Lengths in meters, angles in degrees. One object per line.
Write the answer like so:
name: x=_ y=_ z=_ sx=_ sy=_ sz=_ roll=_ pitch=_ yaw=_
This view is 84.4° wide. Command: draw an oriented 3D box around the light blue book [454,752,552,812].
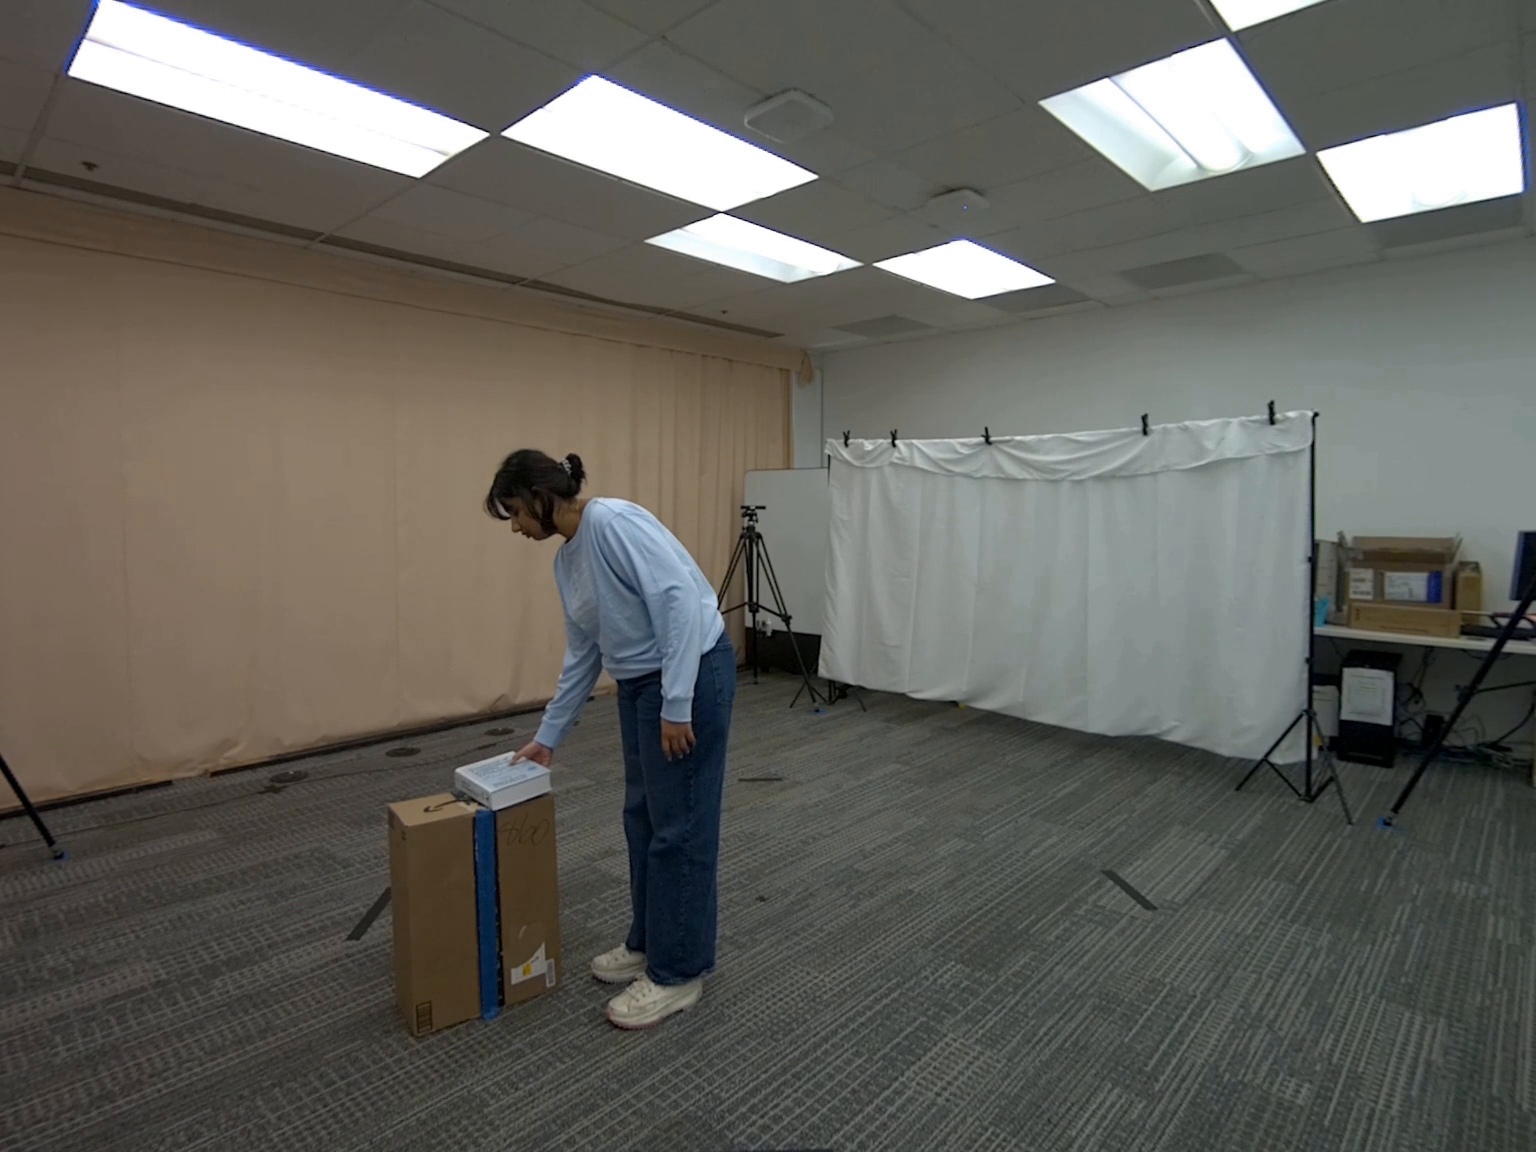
light blue book: x=-0.768 y=0.591 z=2.455 sx=0.186 sy=0.059 sz=0.269 roll=-12 pitch=10 yaw=-39
